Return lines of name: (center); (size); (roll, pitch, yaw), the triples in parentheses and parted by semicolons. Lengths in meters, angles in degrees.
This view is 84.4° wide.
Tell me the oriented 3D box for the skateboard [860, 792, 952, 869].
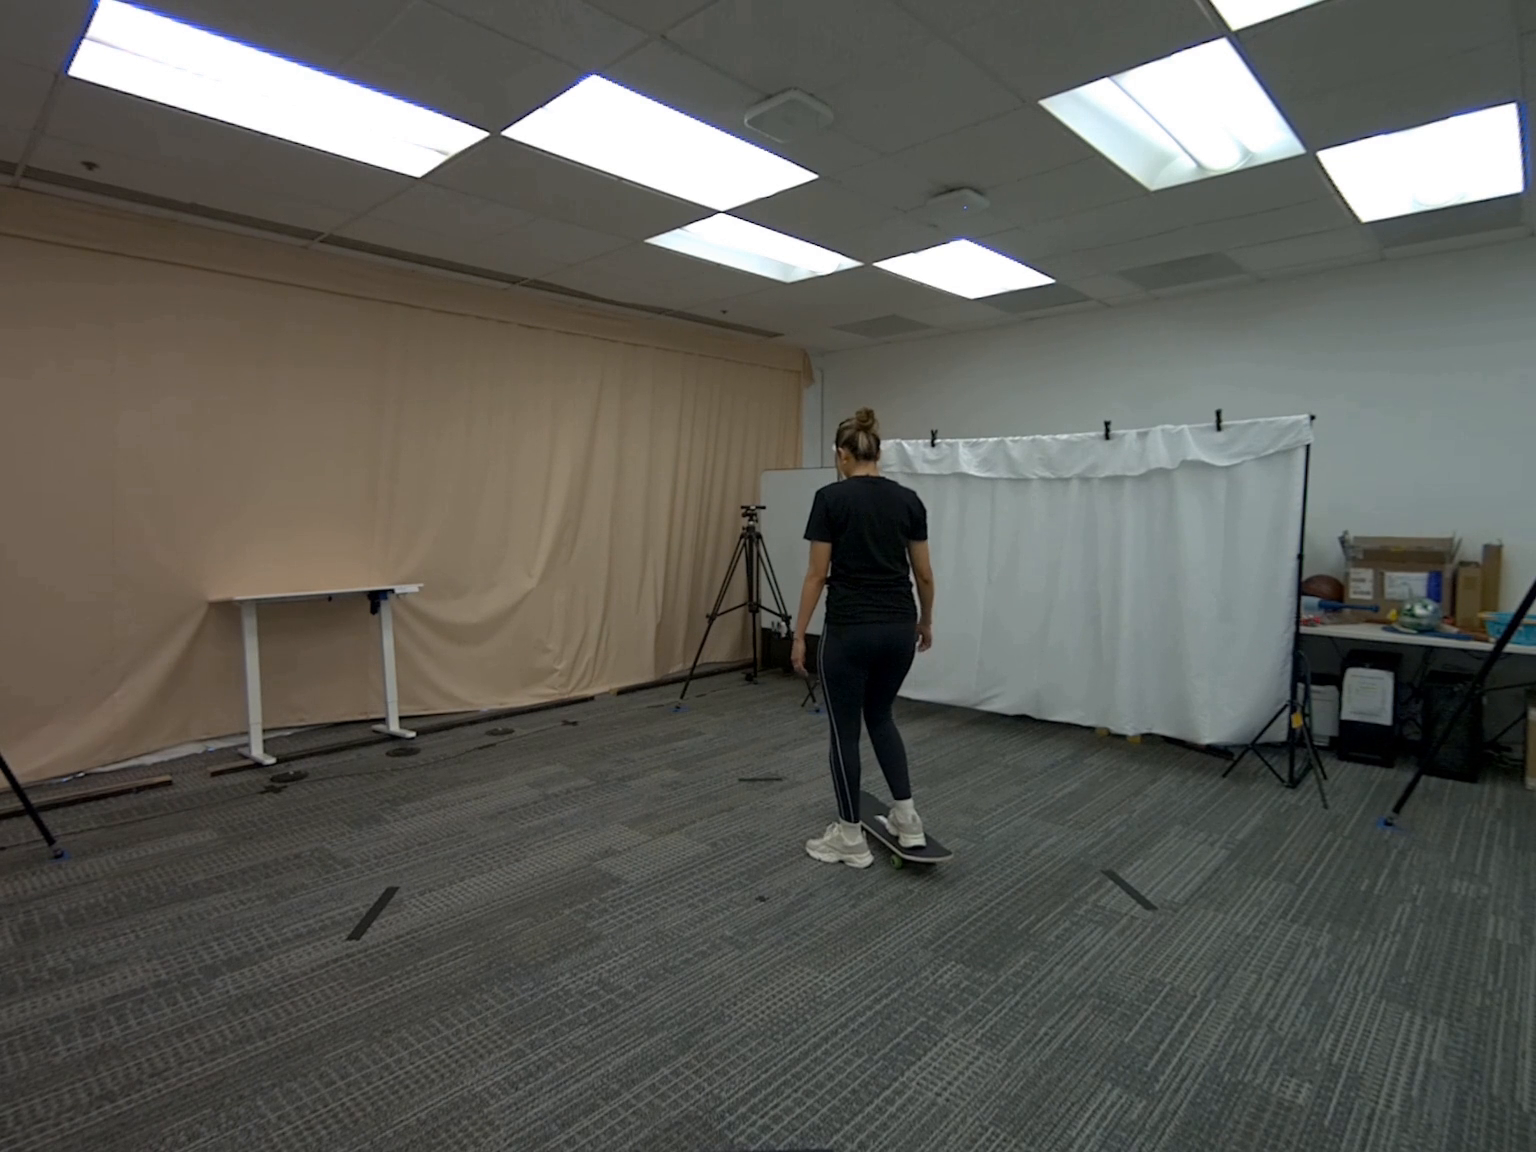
skateboard: (0.497, 1.049, 3.461); (0.190, 0.110, 0.801); (-1, 5, -19)
